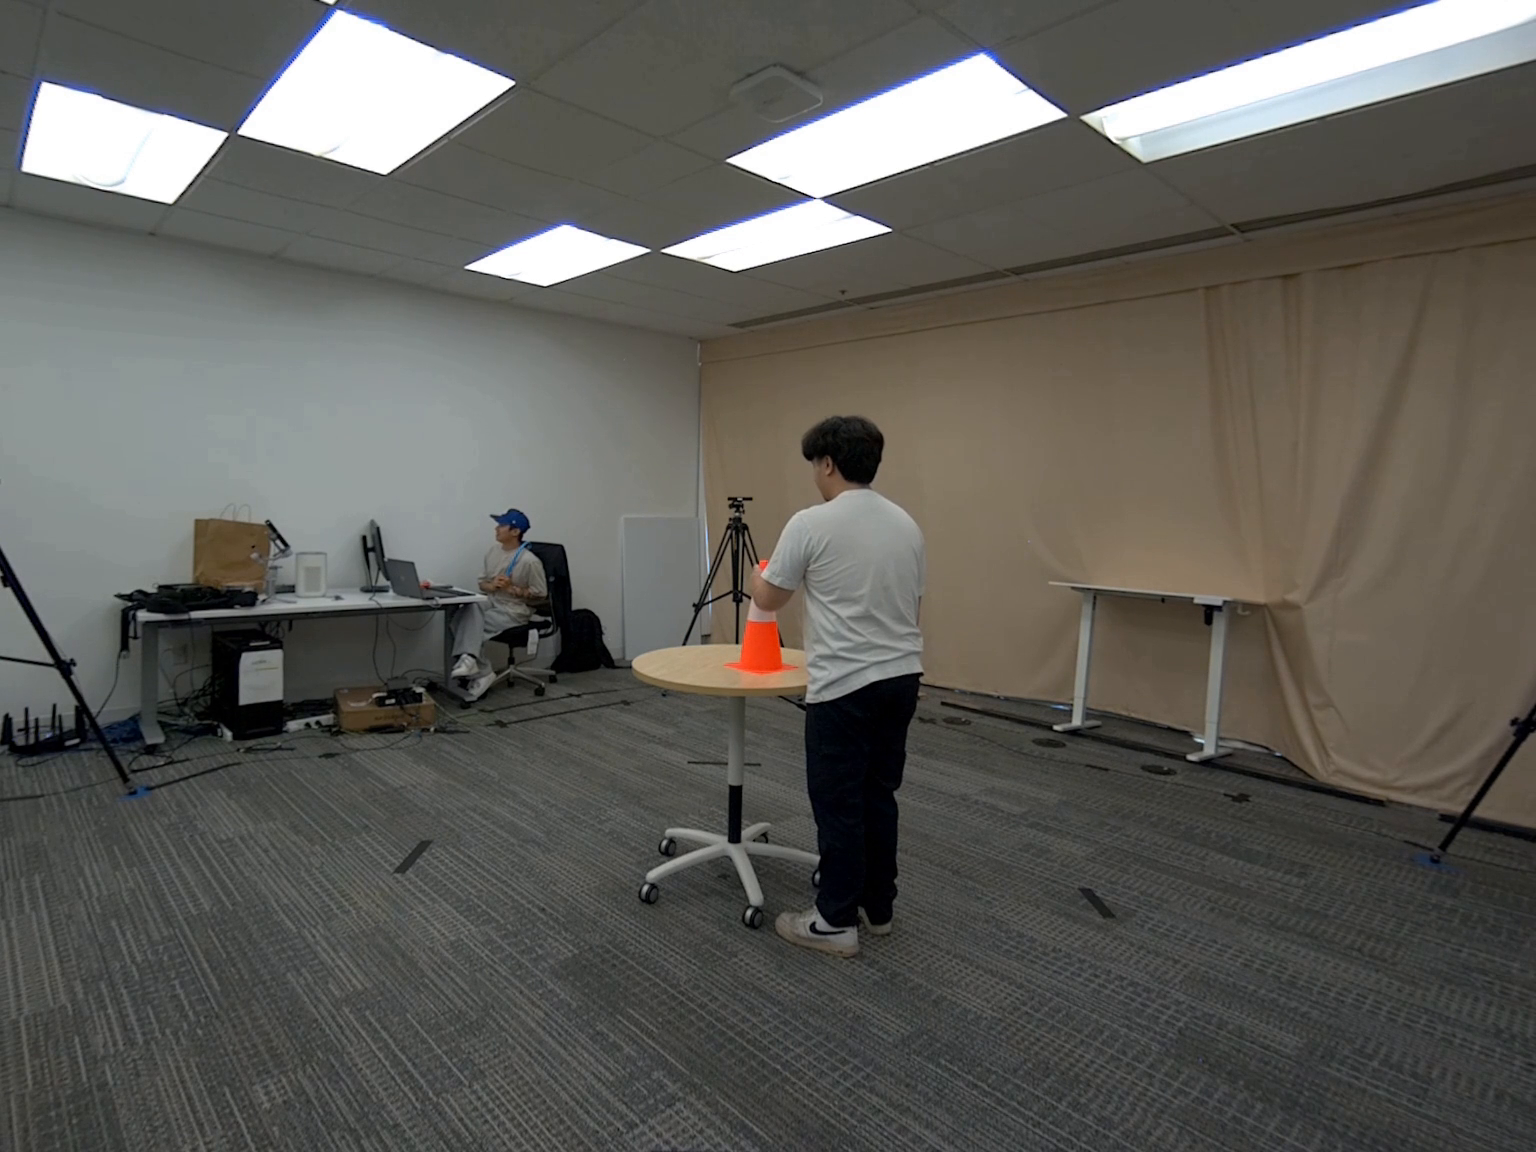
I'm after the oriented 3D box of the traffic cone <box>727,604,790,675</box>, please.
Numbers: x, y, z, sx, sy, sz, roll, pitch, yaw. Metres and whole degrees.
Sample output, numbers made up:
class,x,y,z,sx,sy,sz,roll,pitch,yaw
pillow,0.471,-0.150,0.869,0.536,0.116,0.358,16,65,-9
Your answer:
class,x,y,z,sx,sy,sz,roll,pitch,yaw
traffic cone,-0.028,0.136,2.990,0.200,0.382,0.209,-1,6,-44
